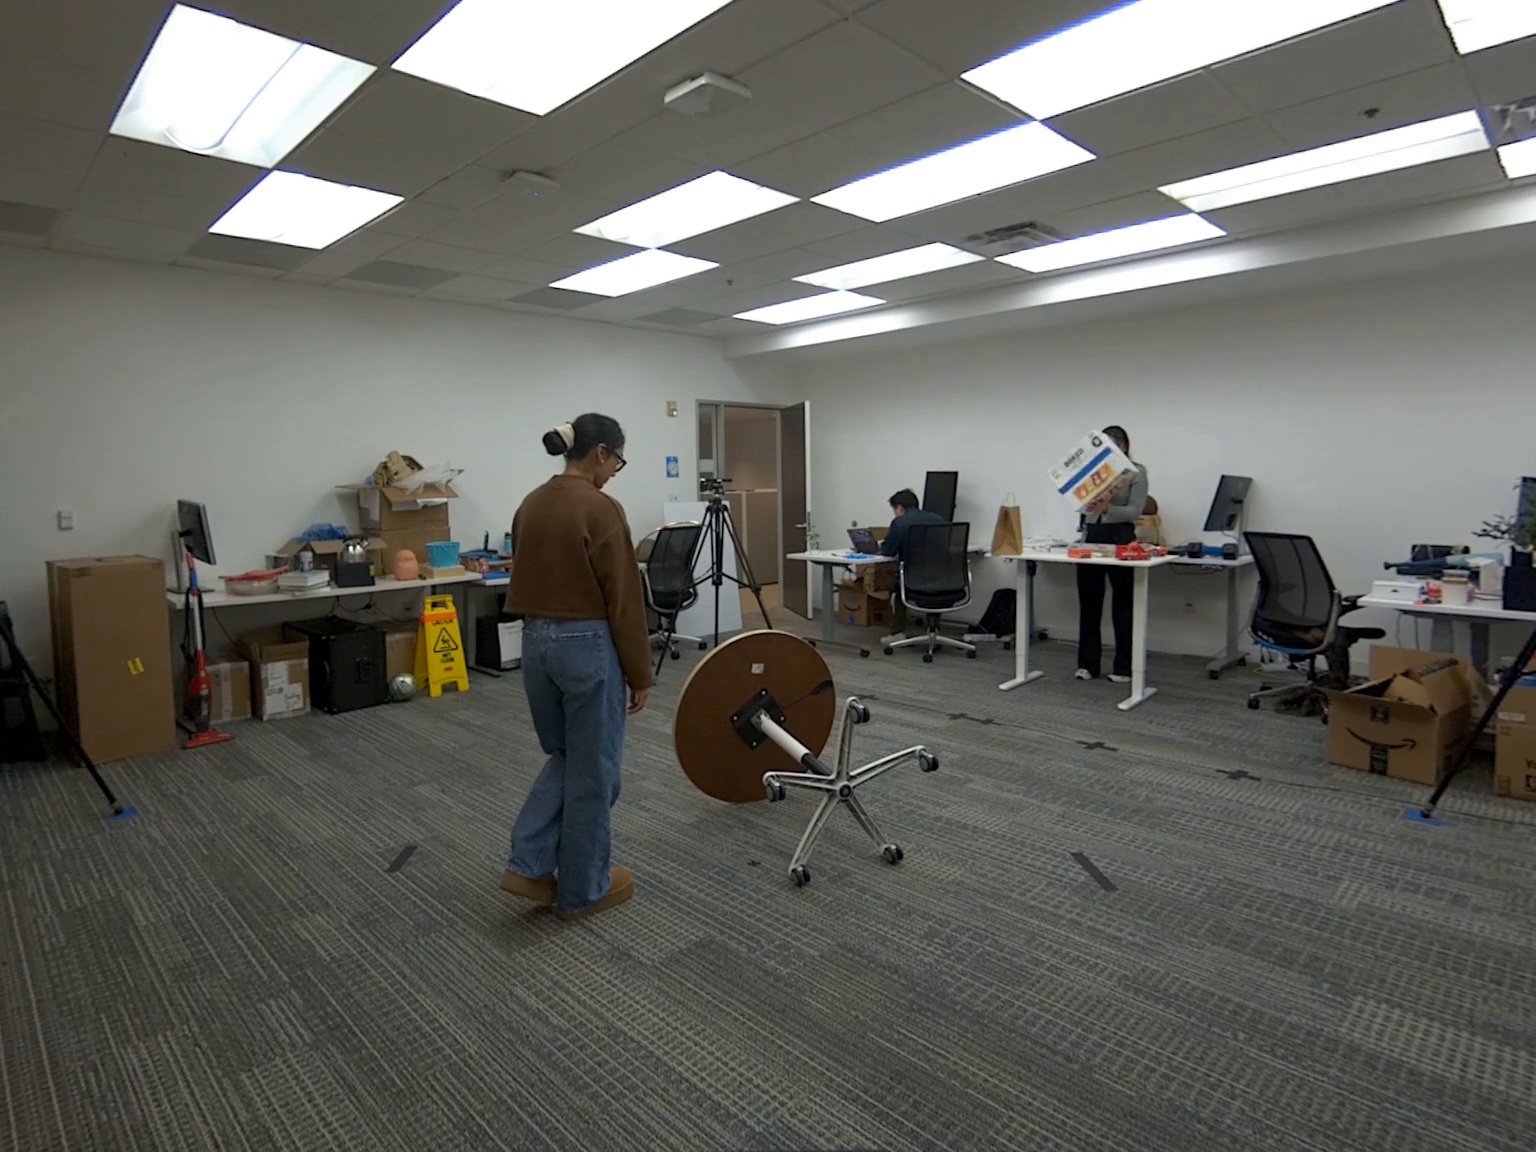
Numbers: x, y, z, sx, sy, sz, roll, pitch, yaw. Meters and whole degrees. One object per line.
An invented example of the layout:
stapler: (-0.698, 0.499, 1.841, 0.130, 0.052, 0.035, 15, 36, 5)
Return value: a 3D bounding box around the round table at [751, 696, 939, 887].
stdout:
round table: (0.133, 0.684, 3.300, 0.748, 0.756, 0.819, -3, 13, -26)
